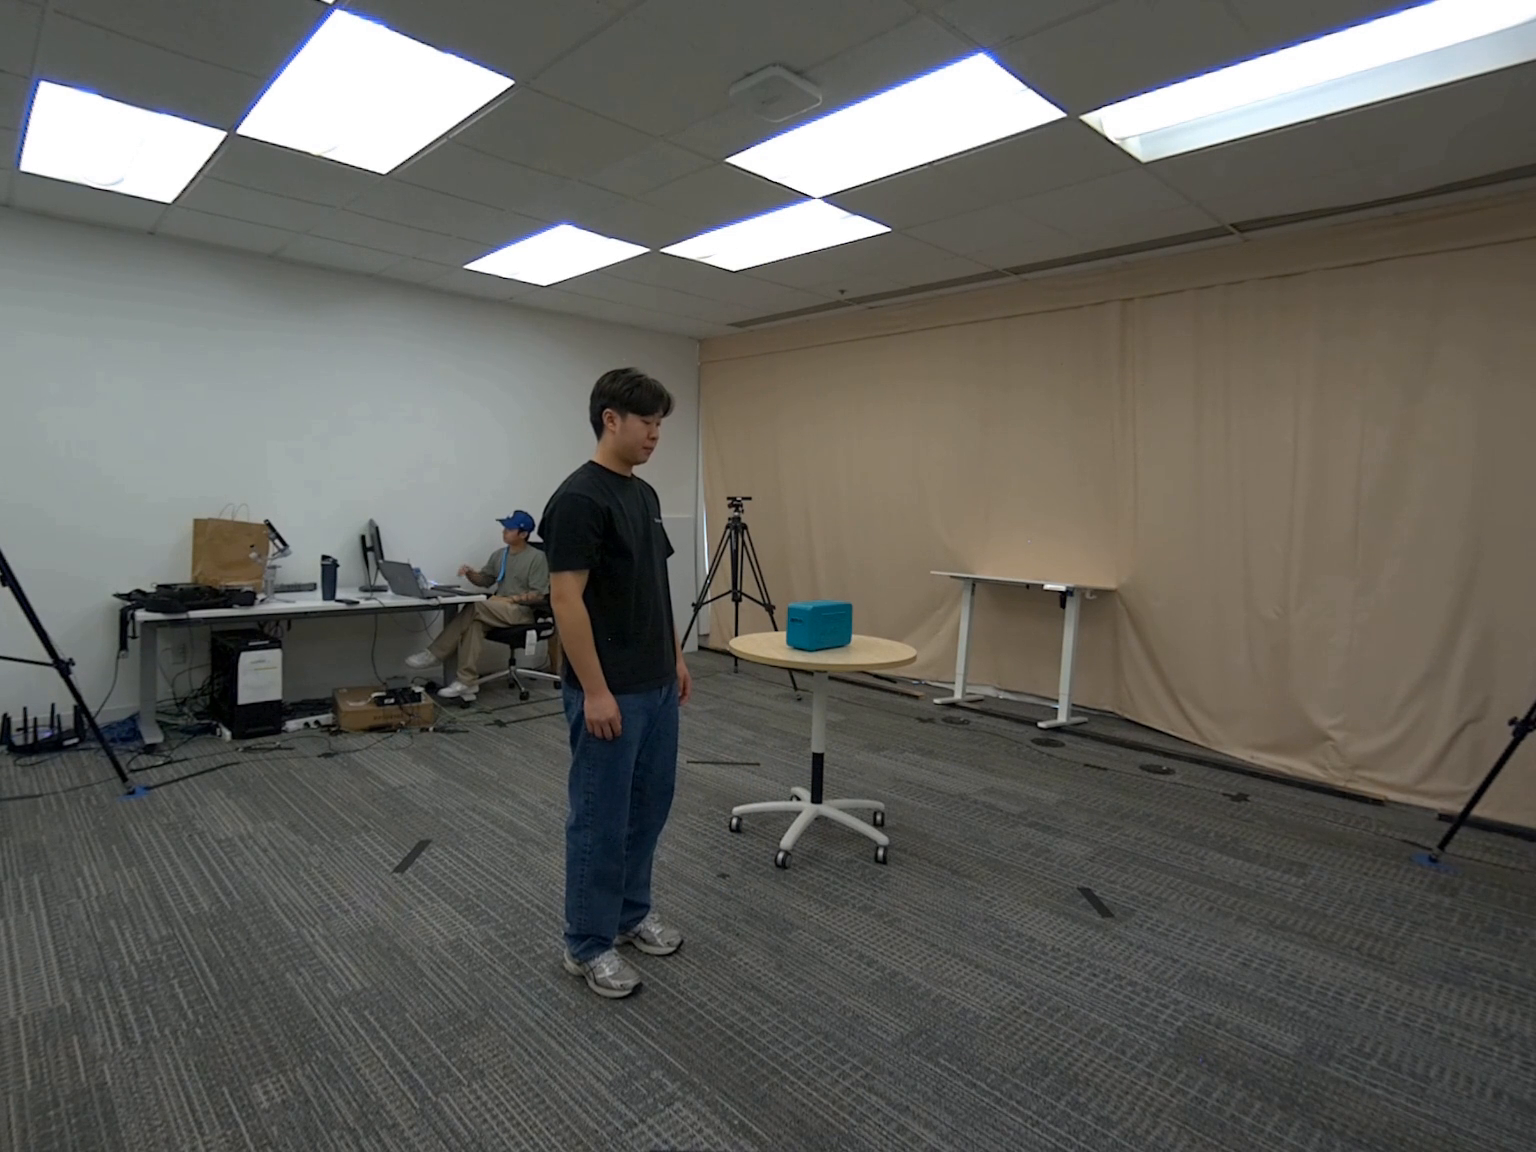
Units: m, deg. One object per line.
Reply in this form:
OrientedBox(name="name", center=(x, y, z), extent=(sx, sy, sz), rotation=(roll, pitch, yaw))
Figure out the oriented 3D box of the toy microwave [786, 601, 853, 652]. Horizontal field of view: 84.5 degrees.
OrientedBox(name="toy microwave", center=(0.203, 0.199, 3.434), extent=(0.156, 0.184, 0.279), rotation=(5, 5, 44))
